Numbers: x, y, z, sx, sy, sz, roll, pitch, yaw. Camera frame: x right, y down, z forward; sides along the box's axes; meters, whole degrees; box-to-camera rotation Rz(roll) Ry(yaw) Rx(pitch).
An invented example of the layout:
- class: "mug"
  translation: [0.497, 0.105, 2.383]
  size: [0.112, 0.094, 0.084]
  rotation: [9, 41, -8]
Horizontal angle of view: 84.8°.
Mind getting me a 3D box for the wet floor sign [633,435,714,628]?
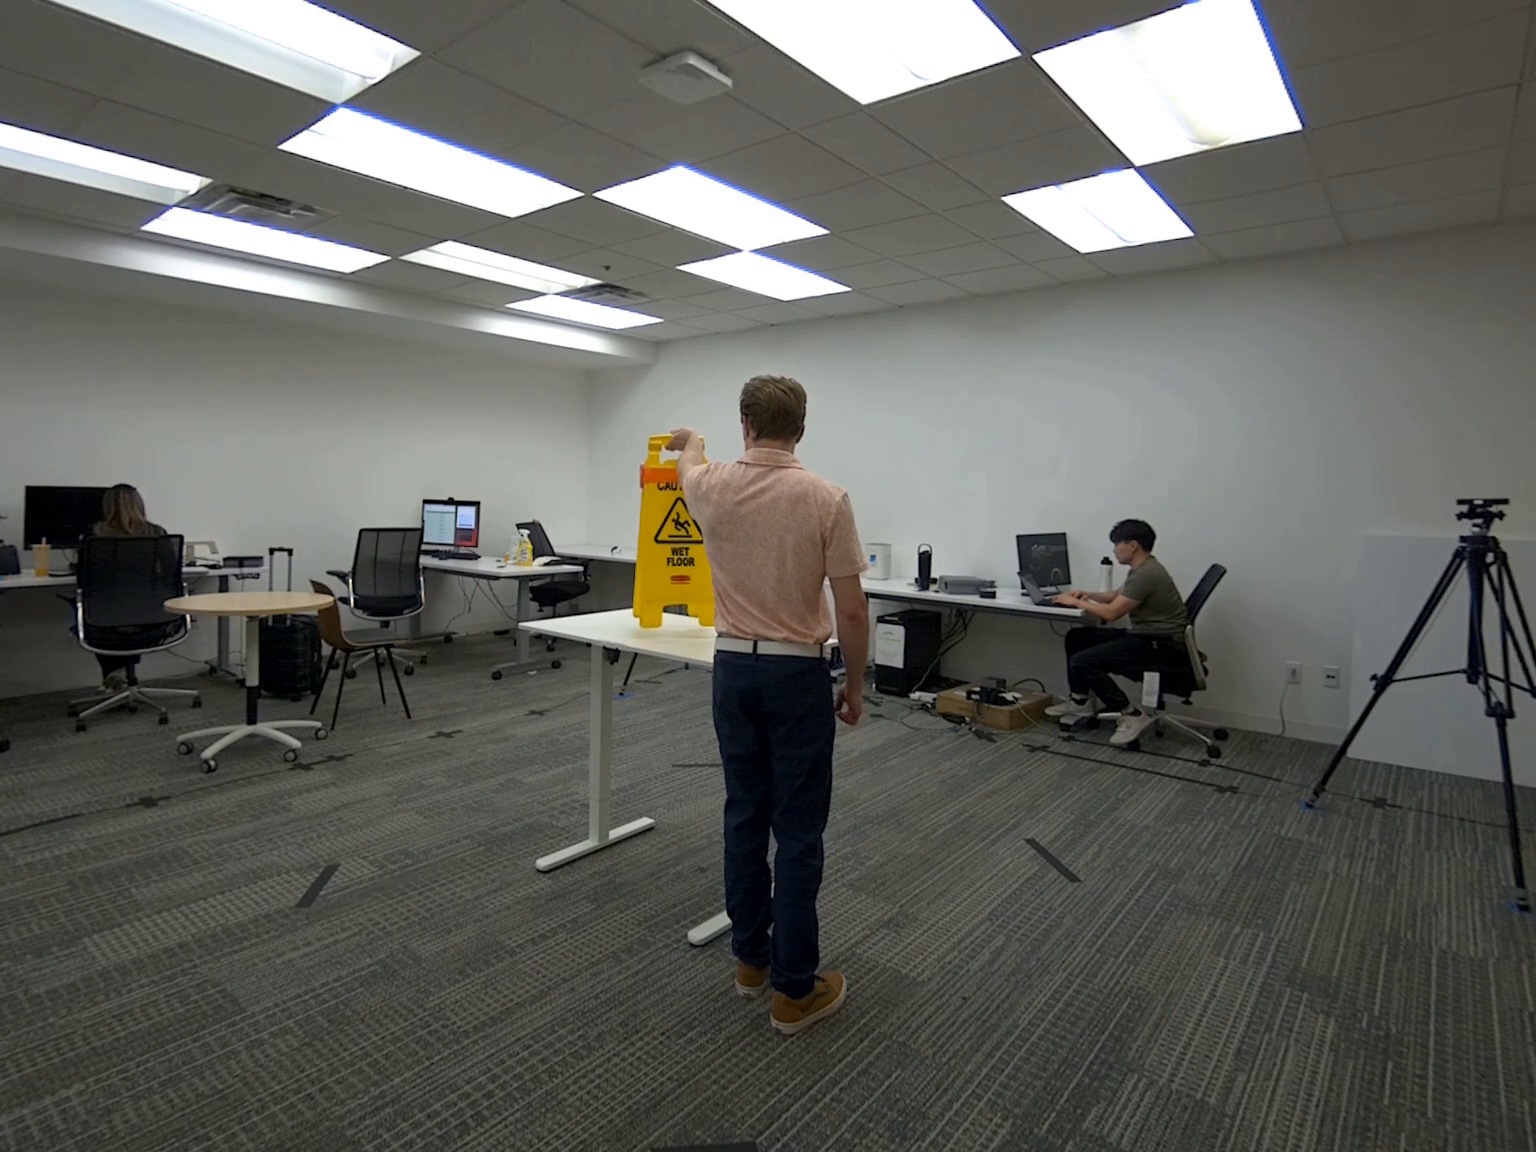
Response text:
- class: "wet floor sign"
  translation: [-0.334, -0.161, 2.971]
  size: [0.279, 0.644, 0.294]
  rotation: [1, 3, -12]
